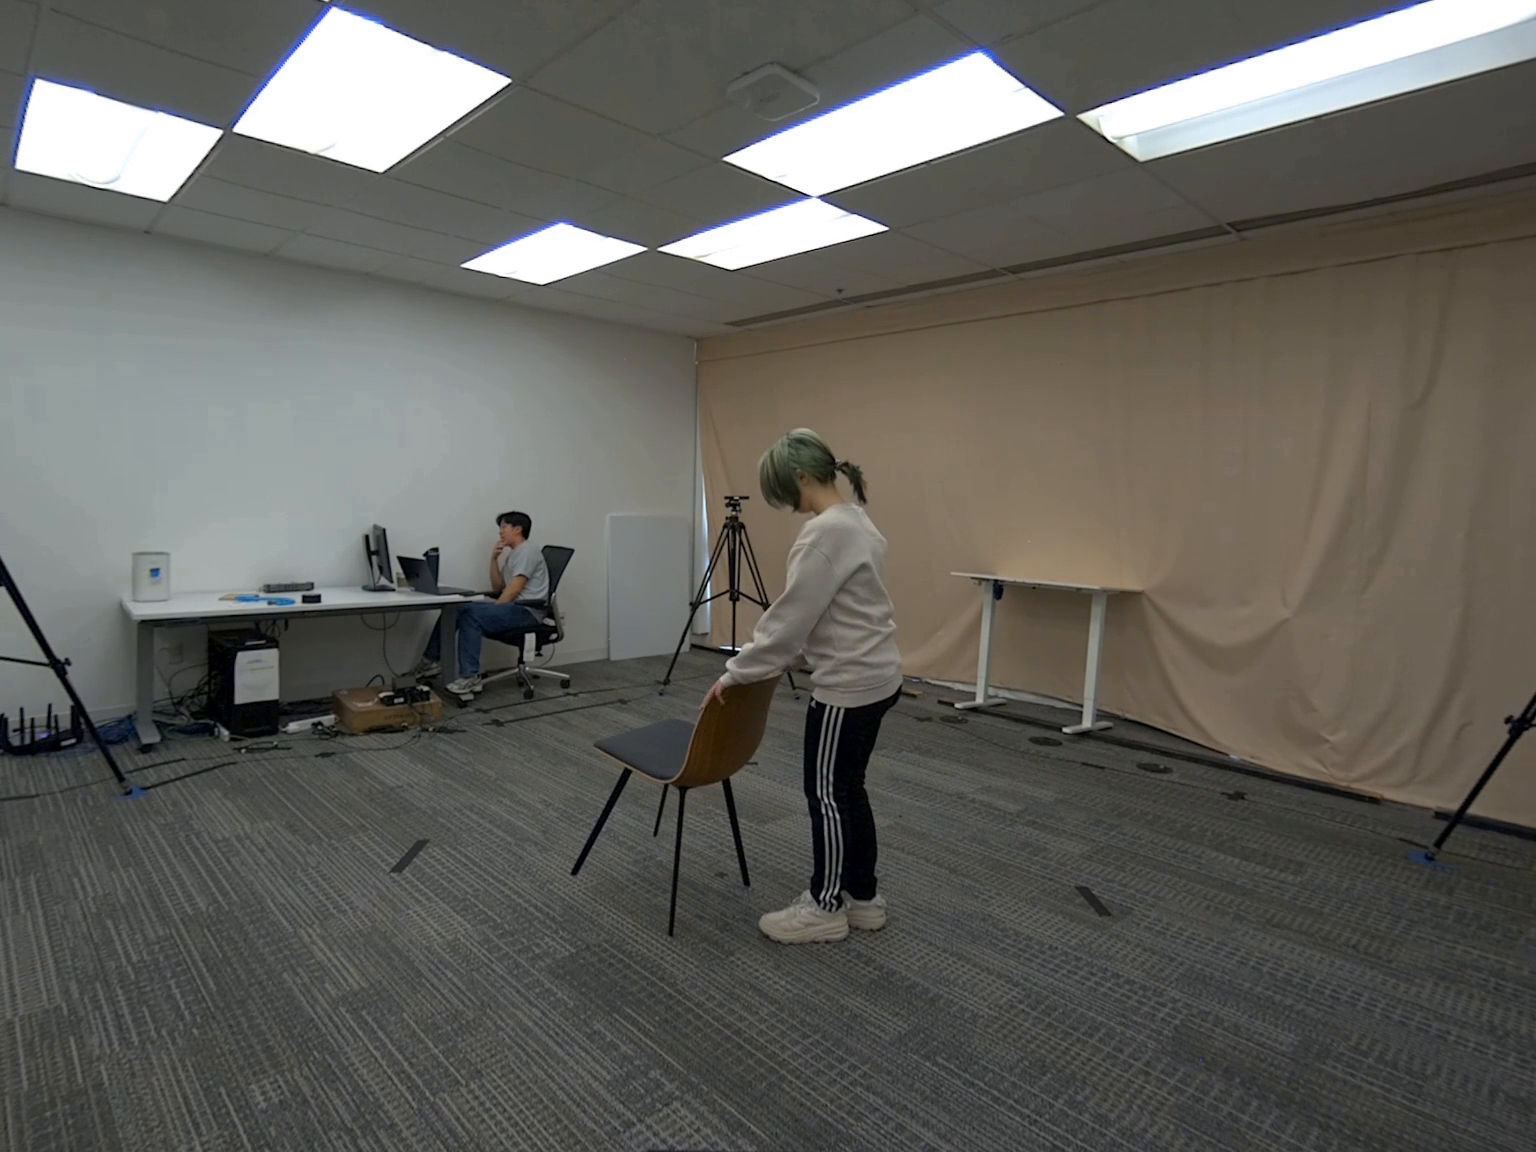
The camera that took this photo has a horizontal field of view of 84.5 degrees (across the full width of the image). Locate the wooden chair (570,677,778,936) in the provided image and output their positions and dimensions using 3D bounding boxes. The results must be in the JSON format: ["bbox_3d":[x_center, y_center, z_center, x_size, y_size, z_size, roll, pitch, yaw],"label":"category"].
[{"bbox_3d":[-0.309,0.656,2.899,0.537,0.872,0.468,20,13,32],"label":"wooden chair"}]
